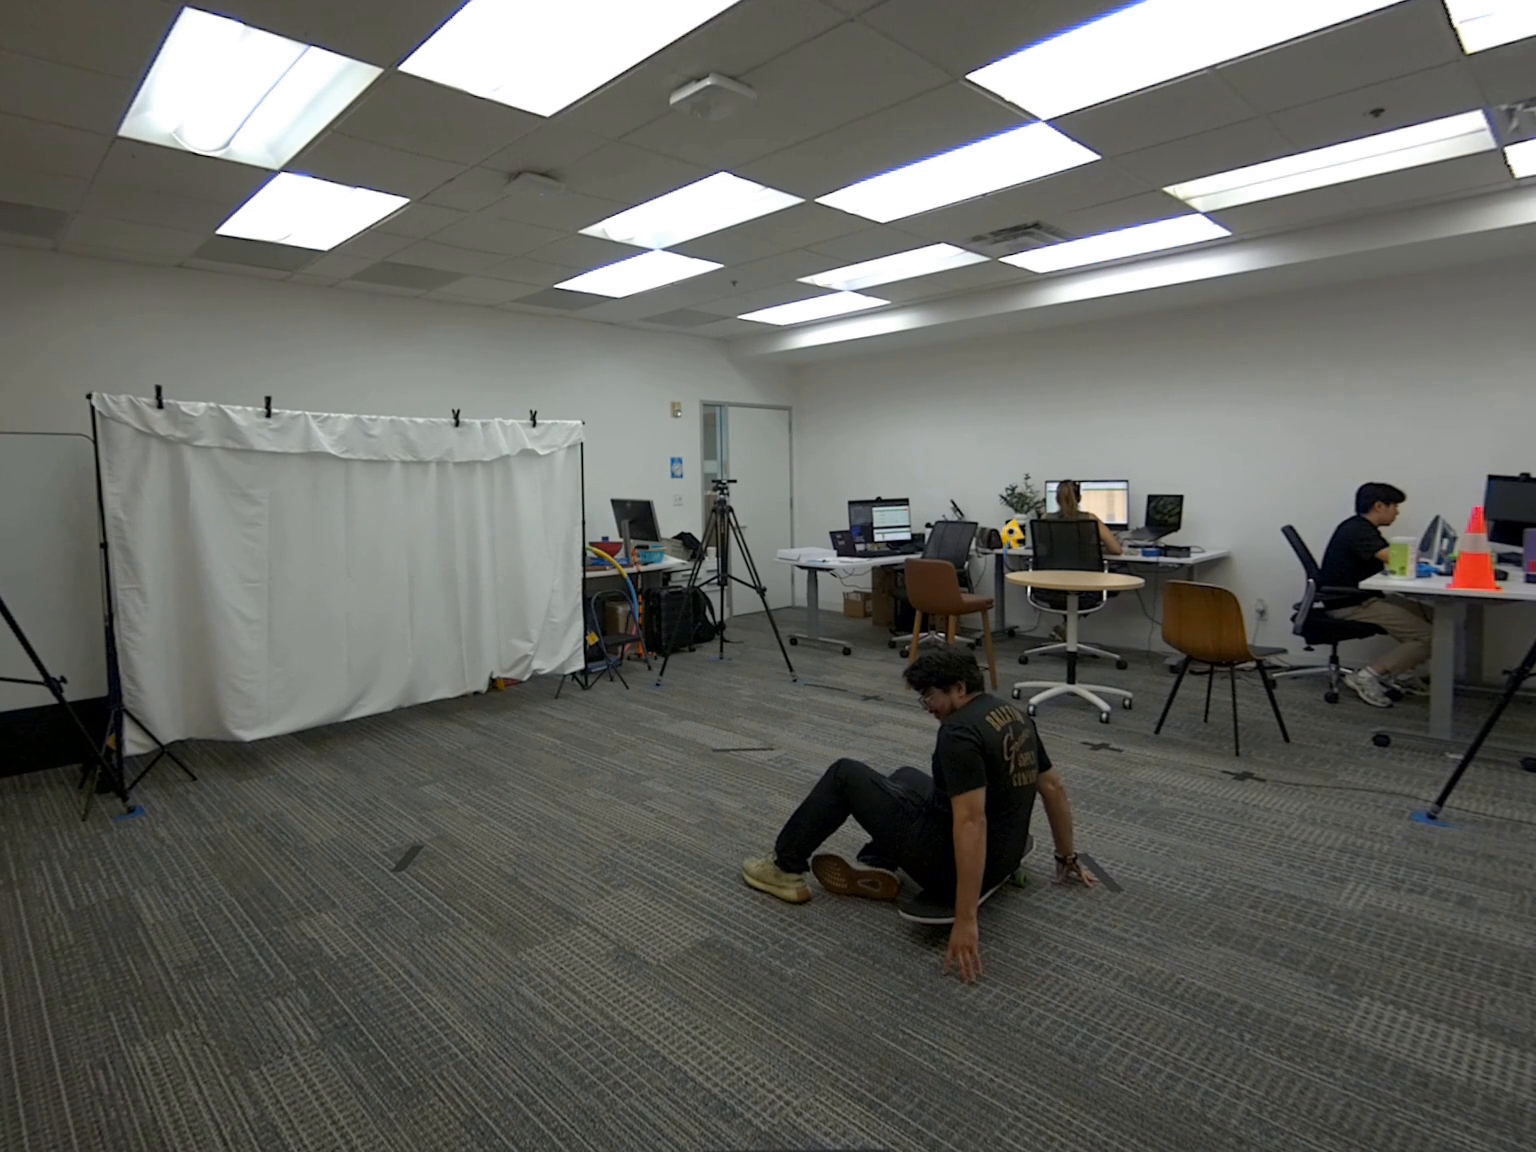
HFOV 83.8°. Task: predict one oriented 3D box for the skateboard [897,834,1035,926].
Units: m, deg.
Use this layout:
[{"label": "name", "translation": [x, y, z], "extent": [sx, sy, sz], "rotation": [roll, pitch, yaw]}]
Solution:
[{"label": "skateboard", "translation": [0.676, 1.012, 2.801], "extent": [0.198, 0.110, 0.765], "rotation": [-6, 1, 40]}]
